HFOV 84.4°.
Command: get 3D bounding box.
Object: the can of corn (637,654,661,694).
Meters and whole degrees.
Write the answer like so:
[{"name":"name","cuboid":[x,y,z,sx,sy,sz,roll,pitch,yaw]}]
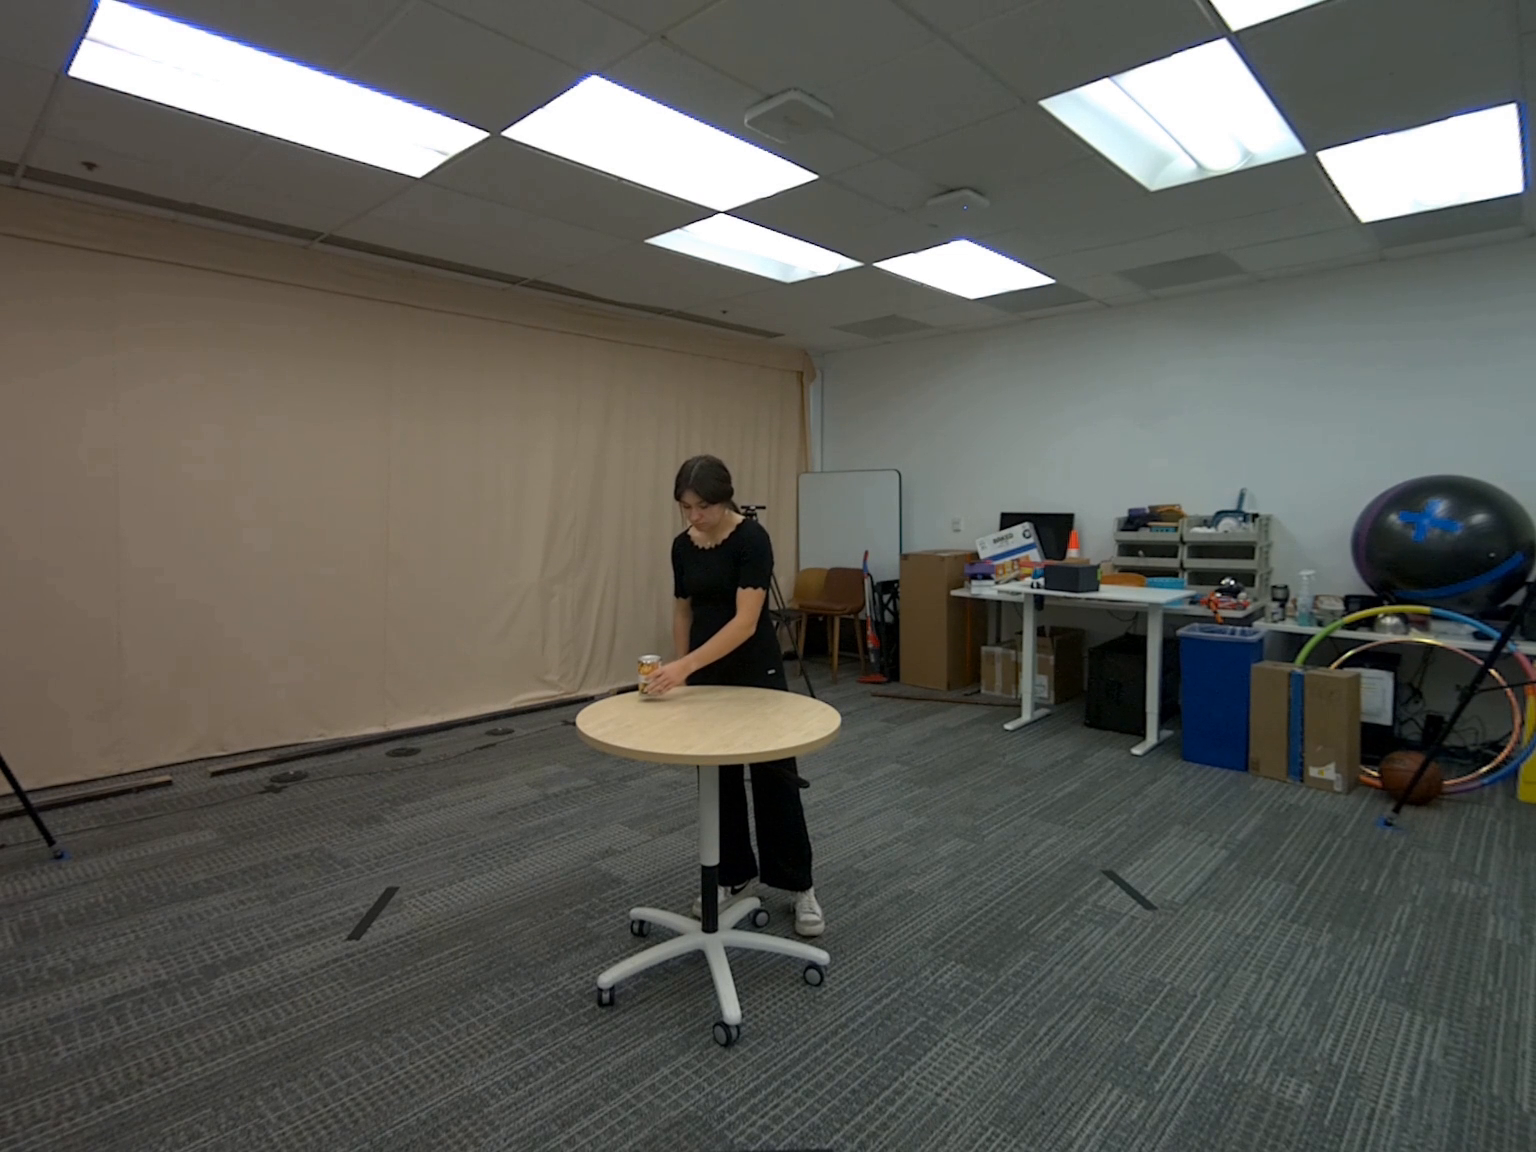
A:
[{"name":"can of corn","cuboid":[-0.363,0.312,2.633,0.074,0.110,0.074,-2,7,-2]}]
